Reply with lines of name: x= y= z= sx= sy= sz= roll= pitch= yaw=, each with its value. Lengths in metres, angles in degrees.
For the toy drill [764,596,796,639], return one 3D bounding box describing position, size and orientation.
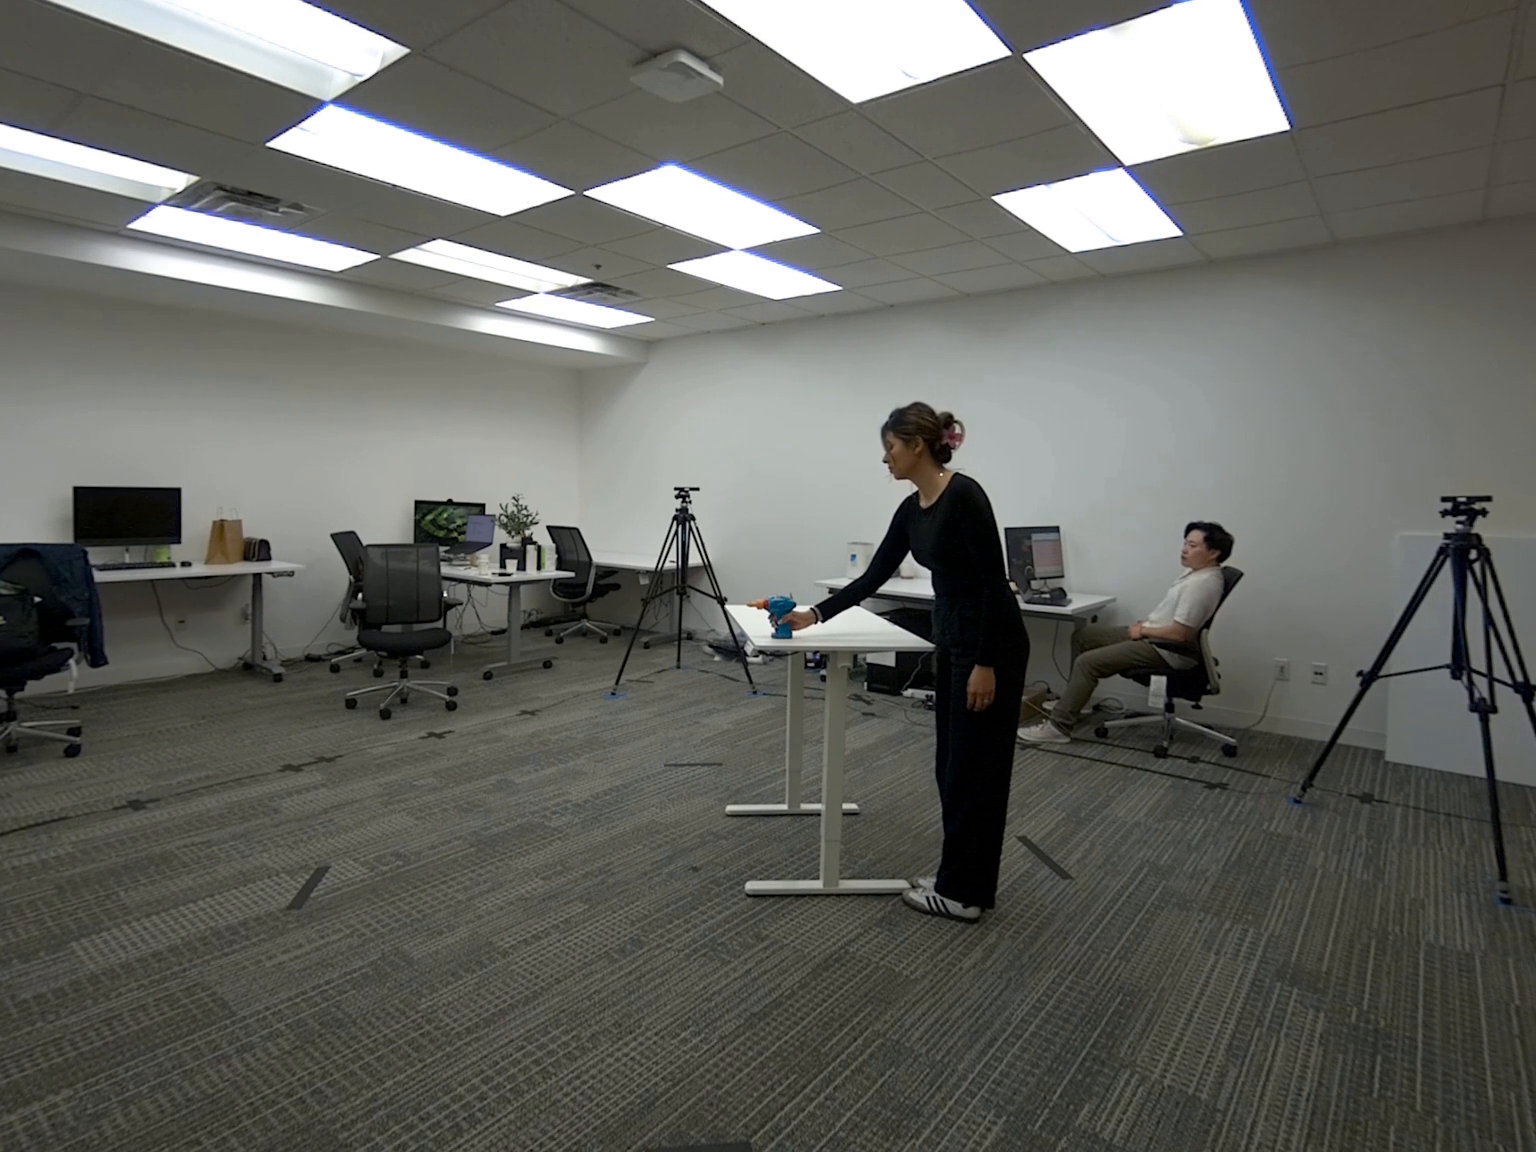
toy drill: x=0.001 y=0.133 z=2.901 sx=0.169 sy=0.146 sz=0.061 roll=0 pitch=-2 yaw=-4
